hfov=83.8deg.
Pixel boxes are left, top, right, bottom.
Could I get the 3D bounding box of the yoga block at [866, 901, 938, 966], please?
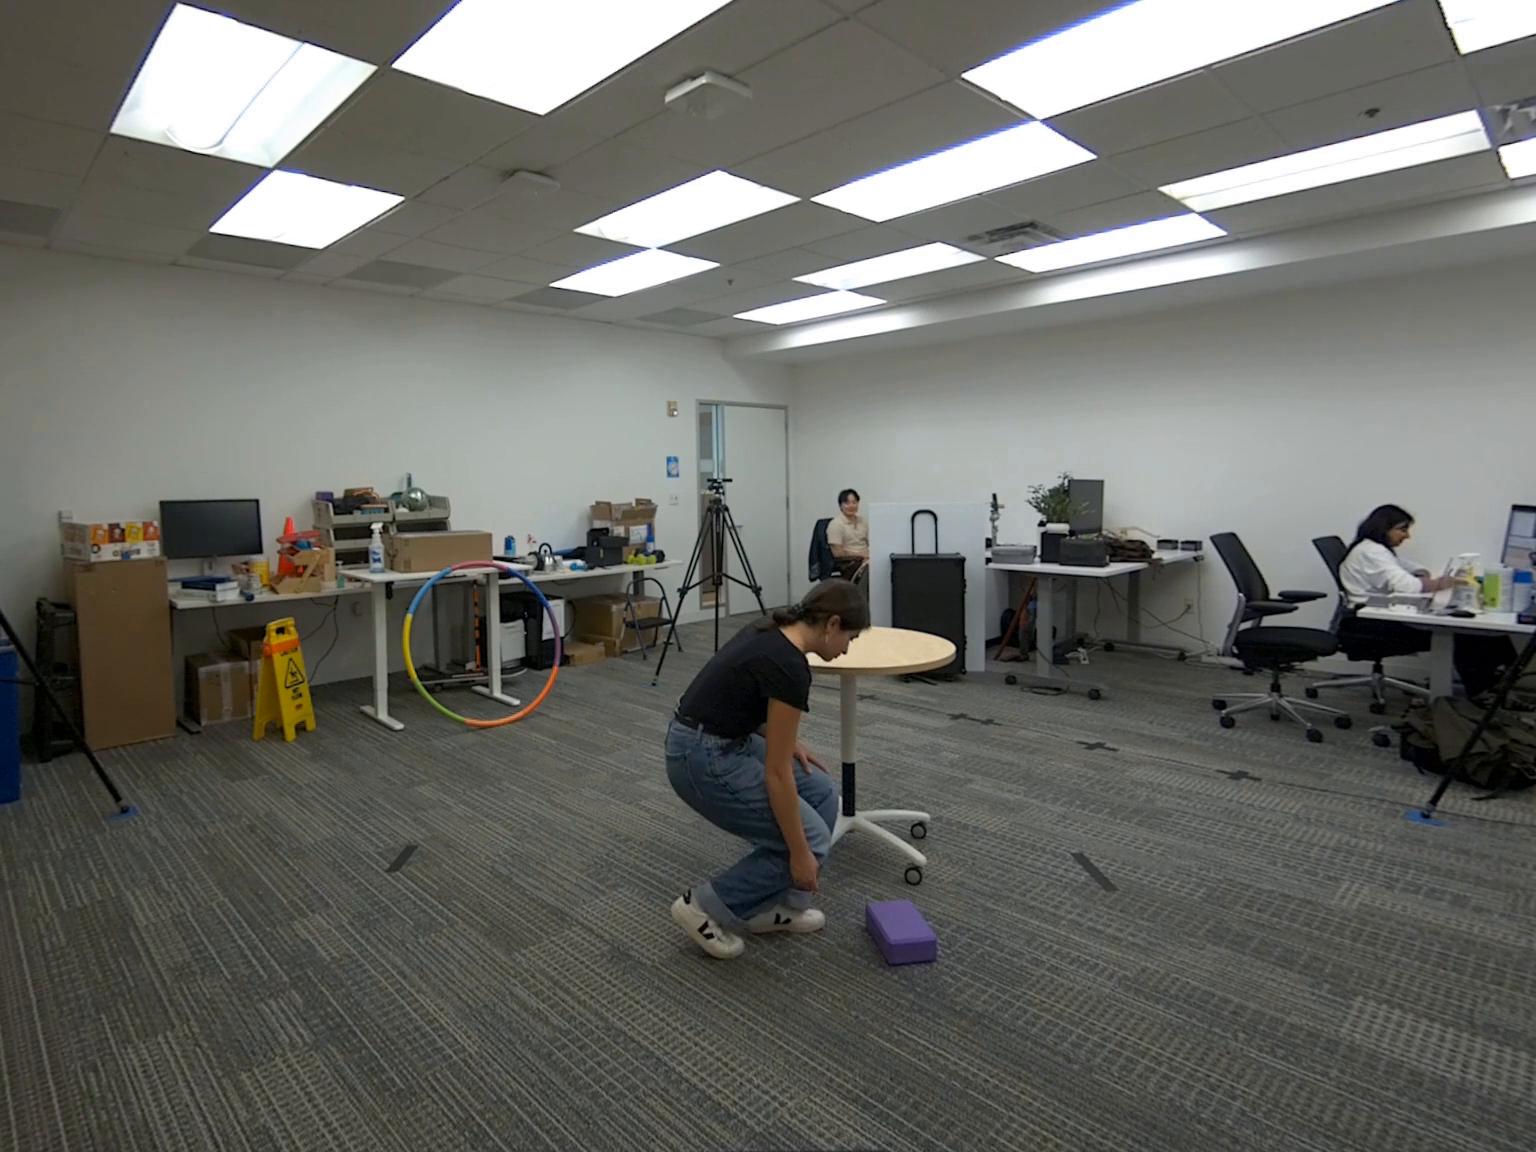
[{"bbox_3d":[0.392,1.057,2.548,0.148,0.076,0.232,-2,5,-9],"label":"yoga block"}]
